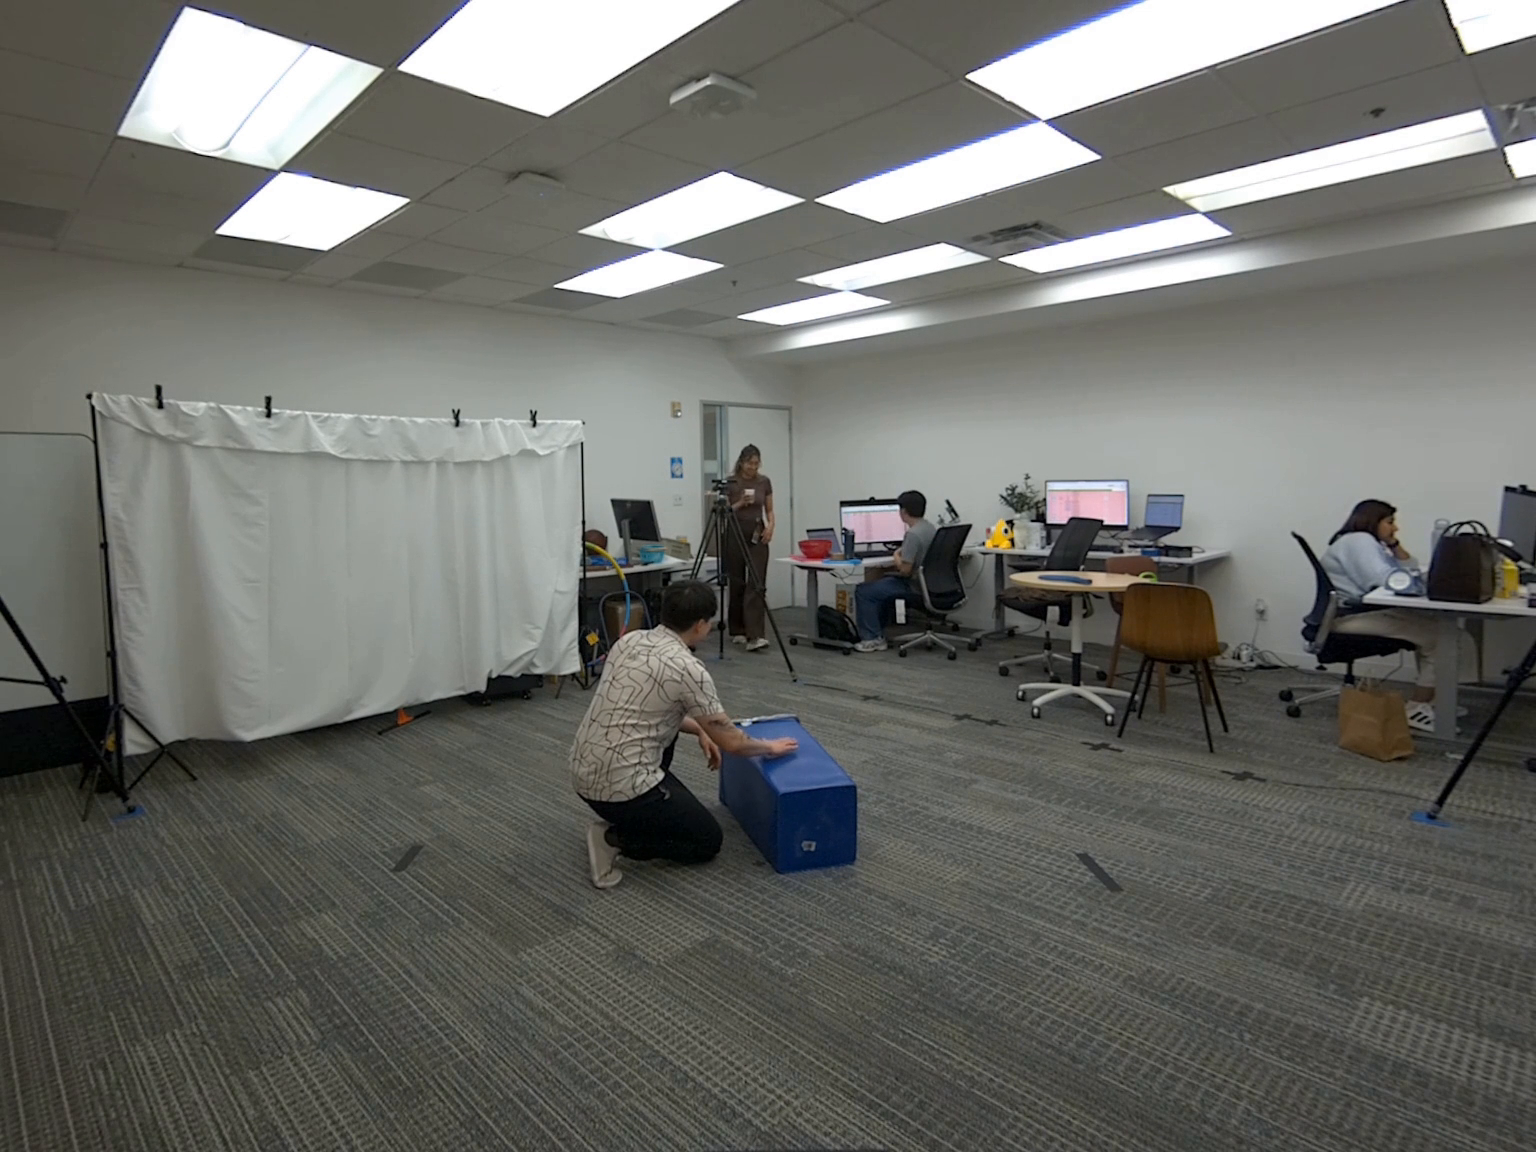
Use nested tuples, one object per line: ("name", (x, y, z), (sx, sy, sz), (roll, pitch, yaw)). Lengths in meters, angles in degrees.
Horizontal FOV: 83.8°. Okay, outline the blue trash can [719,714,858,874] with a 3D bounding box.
("blue trash can", (0.063, 0.845, 3.381), (0.373, 0.371, 0.729), (-3, 9, -16))
